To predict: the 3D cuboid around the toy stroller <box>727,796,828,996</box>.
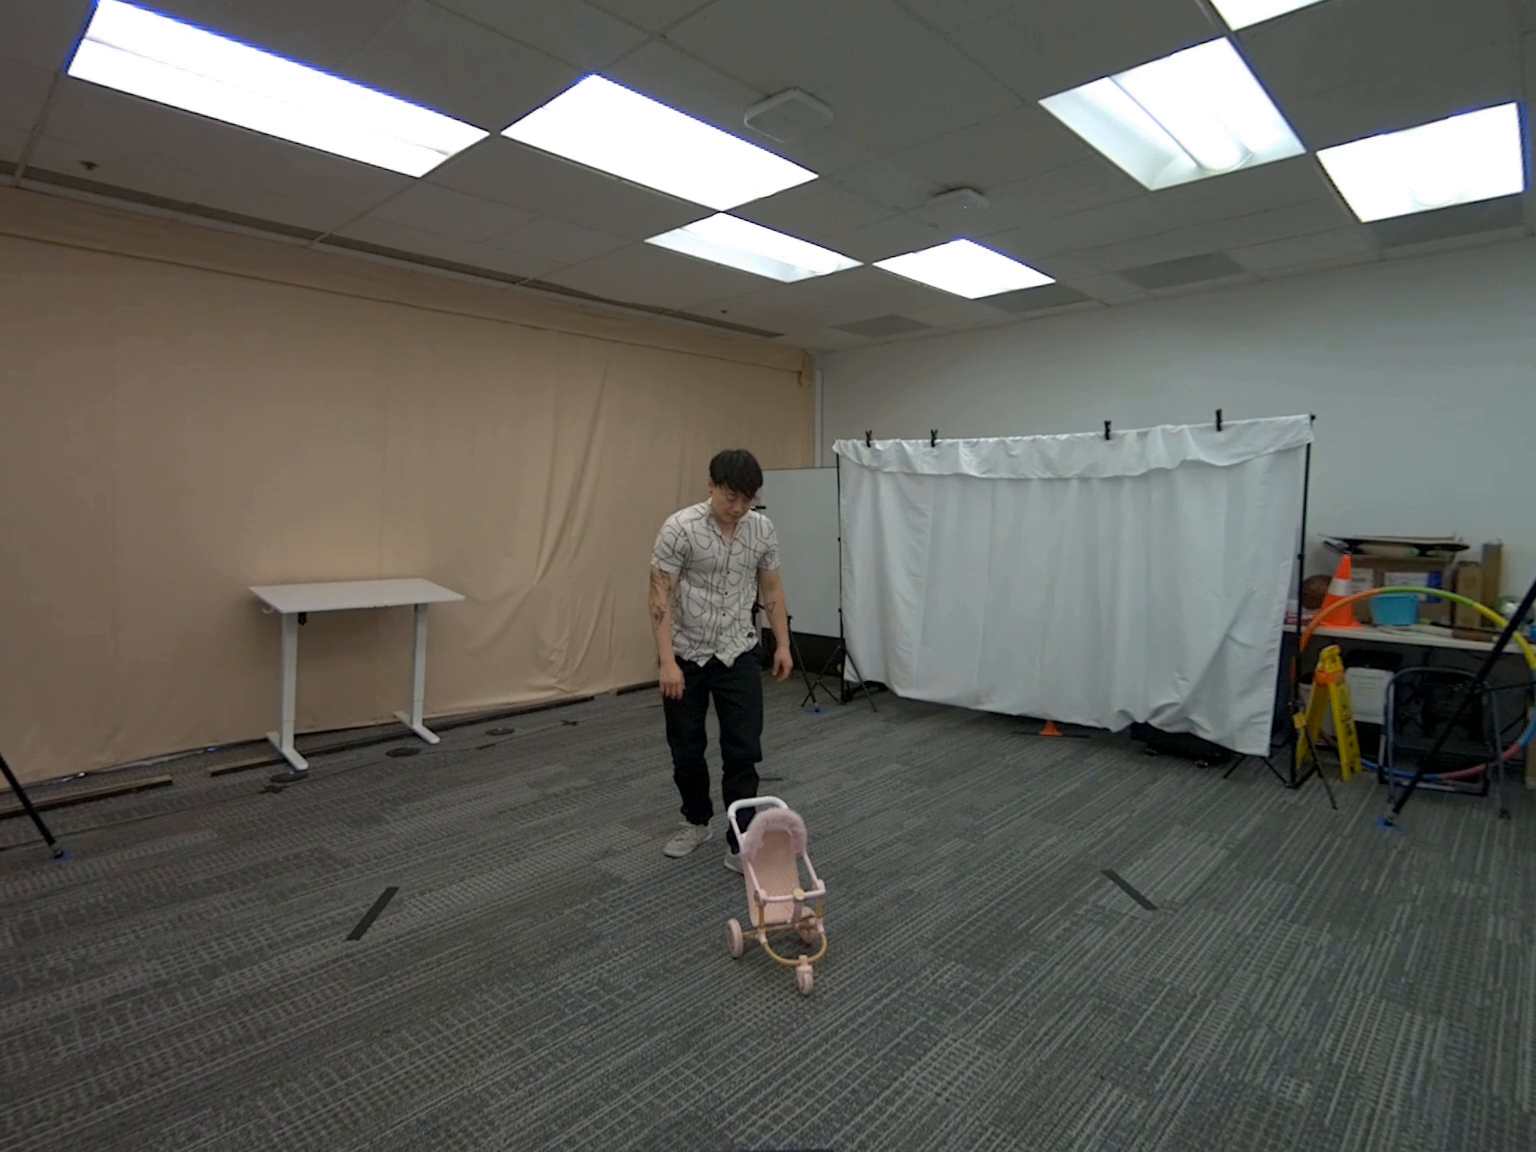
[{"bbox_3d":[0.039,0.953,2.580,0.277,0.540,0.343,-1,-15,-16],"label":"toy stroller"}]
